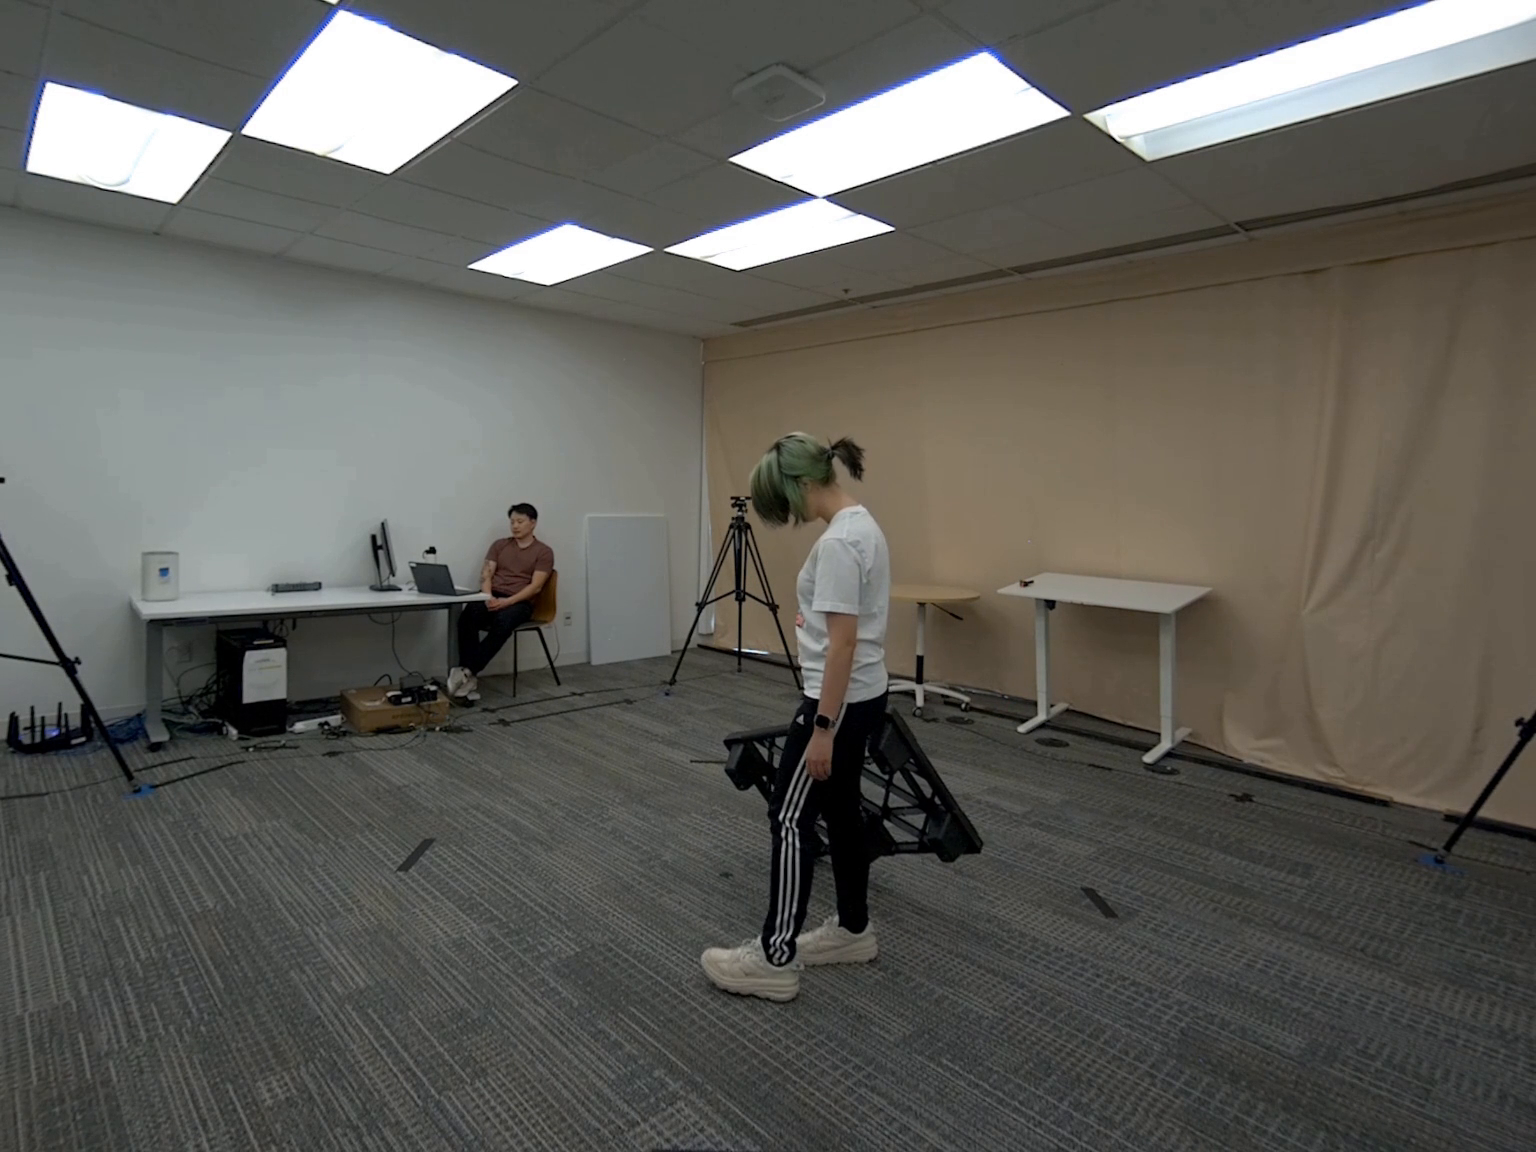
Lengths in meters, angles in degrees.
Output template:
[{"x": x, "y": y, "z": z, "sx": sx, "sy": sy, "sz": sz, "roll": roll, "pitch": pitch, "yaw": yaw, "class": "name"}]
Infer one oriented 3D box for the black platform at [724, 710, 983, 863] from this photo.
[{"x": 0.242, "y": 0.780, "z": 2.932, "sx": 0.817, "sy": 0.598, "sz": 0.143, "roll": -21, "pitch": 16, "yaw": 44, "class": "black platform"}]
